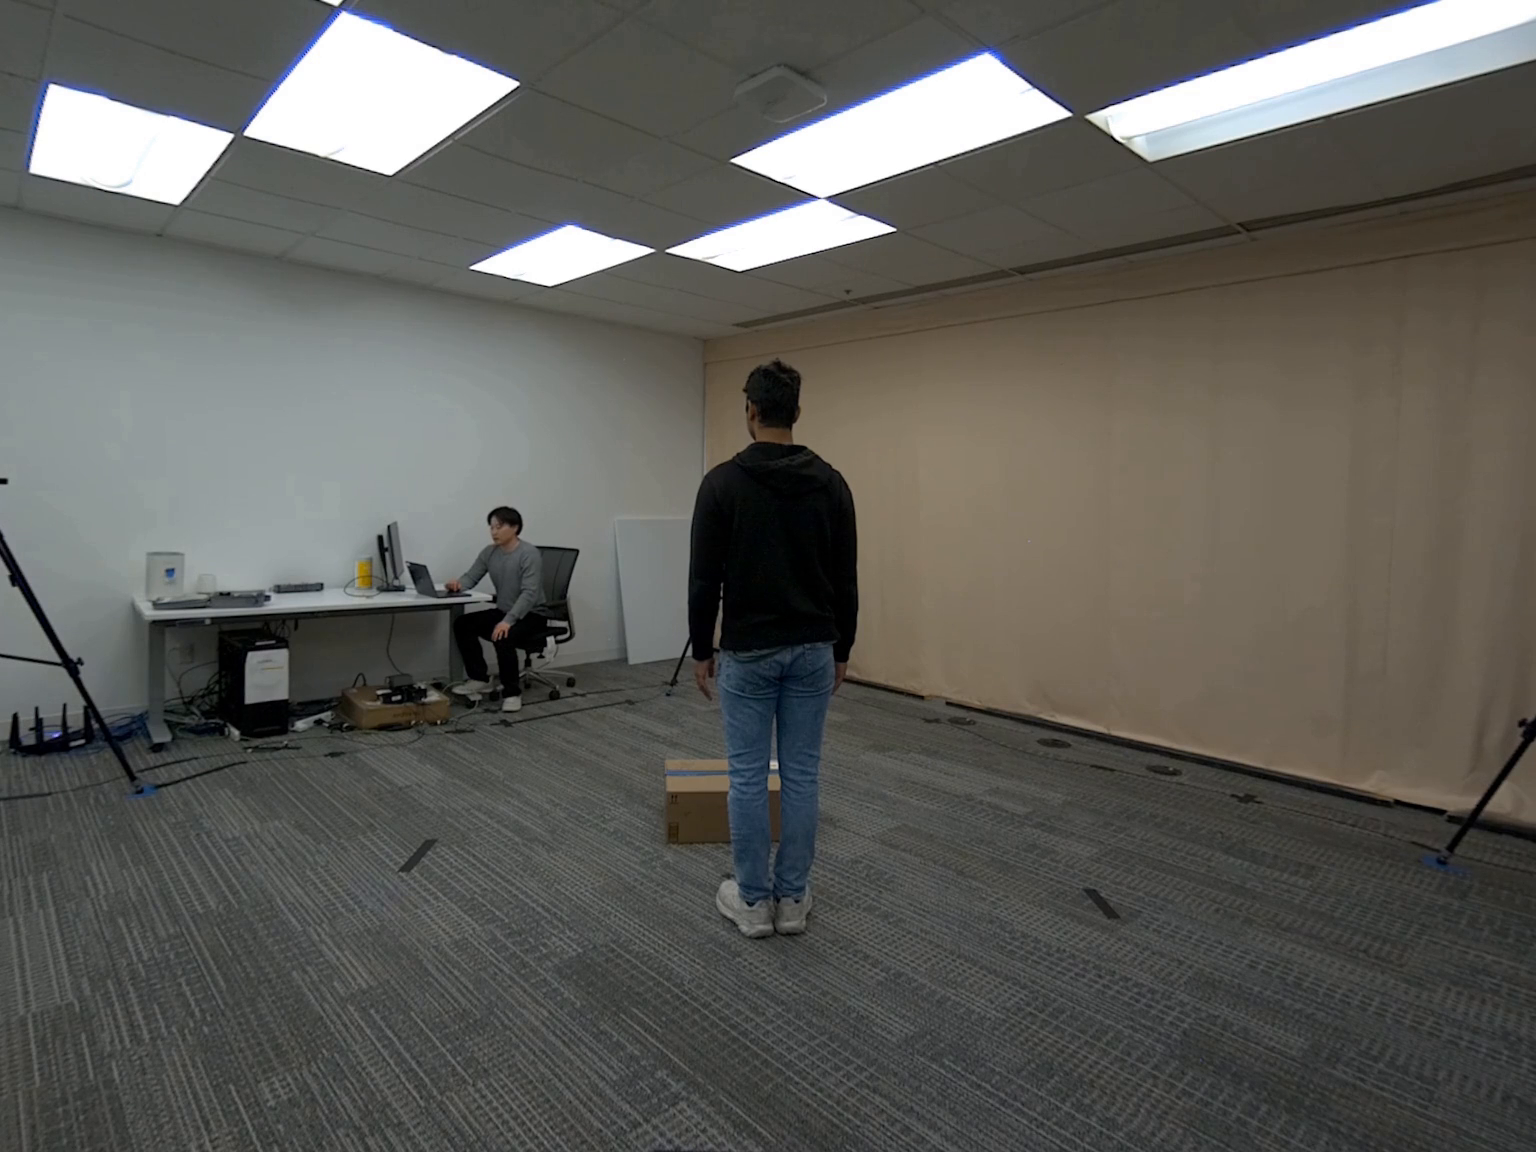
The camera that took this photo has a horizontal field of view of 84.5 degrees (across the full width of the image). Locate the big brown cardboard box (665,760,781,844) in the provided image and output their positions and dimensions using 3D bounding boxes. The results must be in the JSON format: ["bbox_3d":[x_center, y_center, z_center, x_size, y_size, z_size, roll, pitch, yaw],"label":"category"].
[{"bbox_3d":[-0.160,0.949,3.603,0.586,0.232,0.421,0,4,-7],"label":"big brown cardboard box"}]
